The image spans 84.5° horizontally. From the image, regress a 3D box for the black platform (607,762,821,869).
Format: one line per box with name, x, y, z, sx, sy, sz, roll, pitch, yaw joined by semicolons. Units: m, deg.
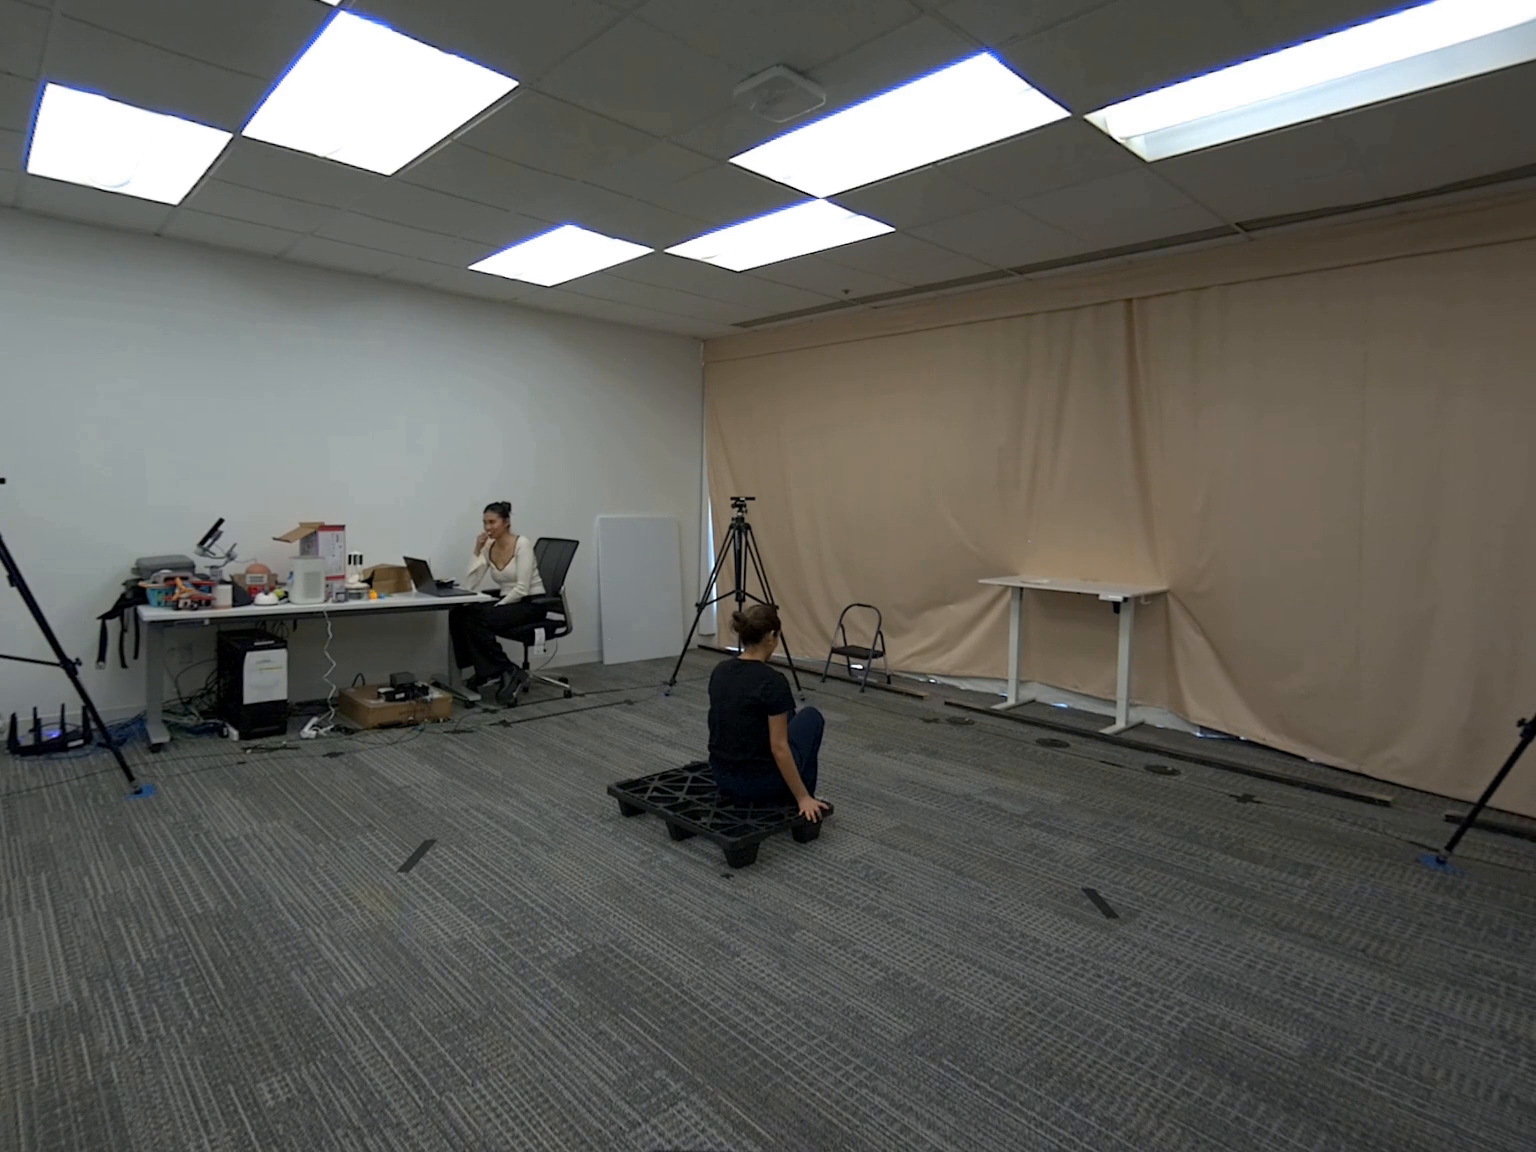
black platform;-0.224;0.998;3.555;0.591;0.143;0.826;-4;7;-45
